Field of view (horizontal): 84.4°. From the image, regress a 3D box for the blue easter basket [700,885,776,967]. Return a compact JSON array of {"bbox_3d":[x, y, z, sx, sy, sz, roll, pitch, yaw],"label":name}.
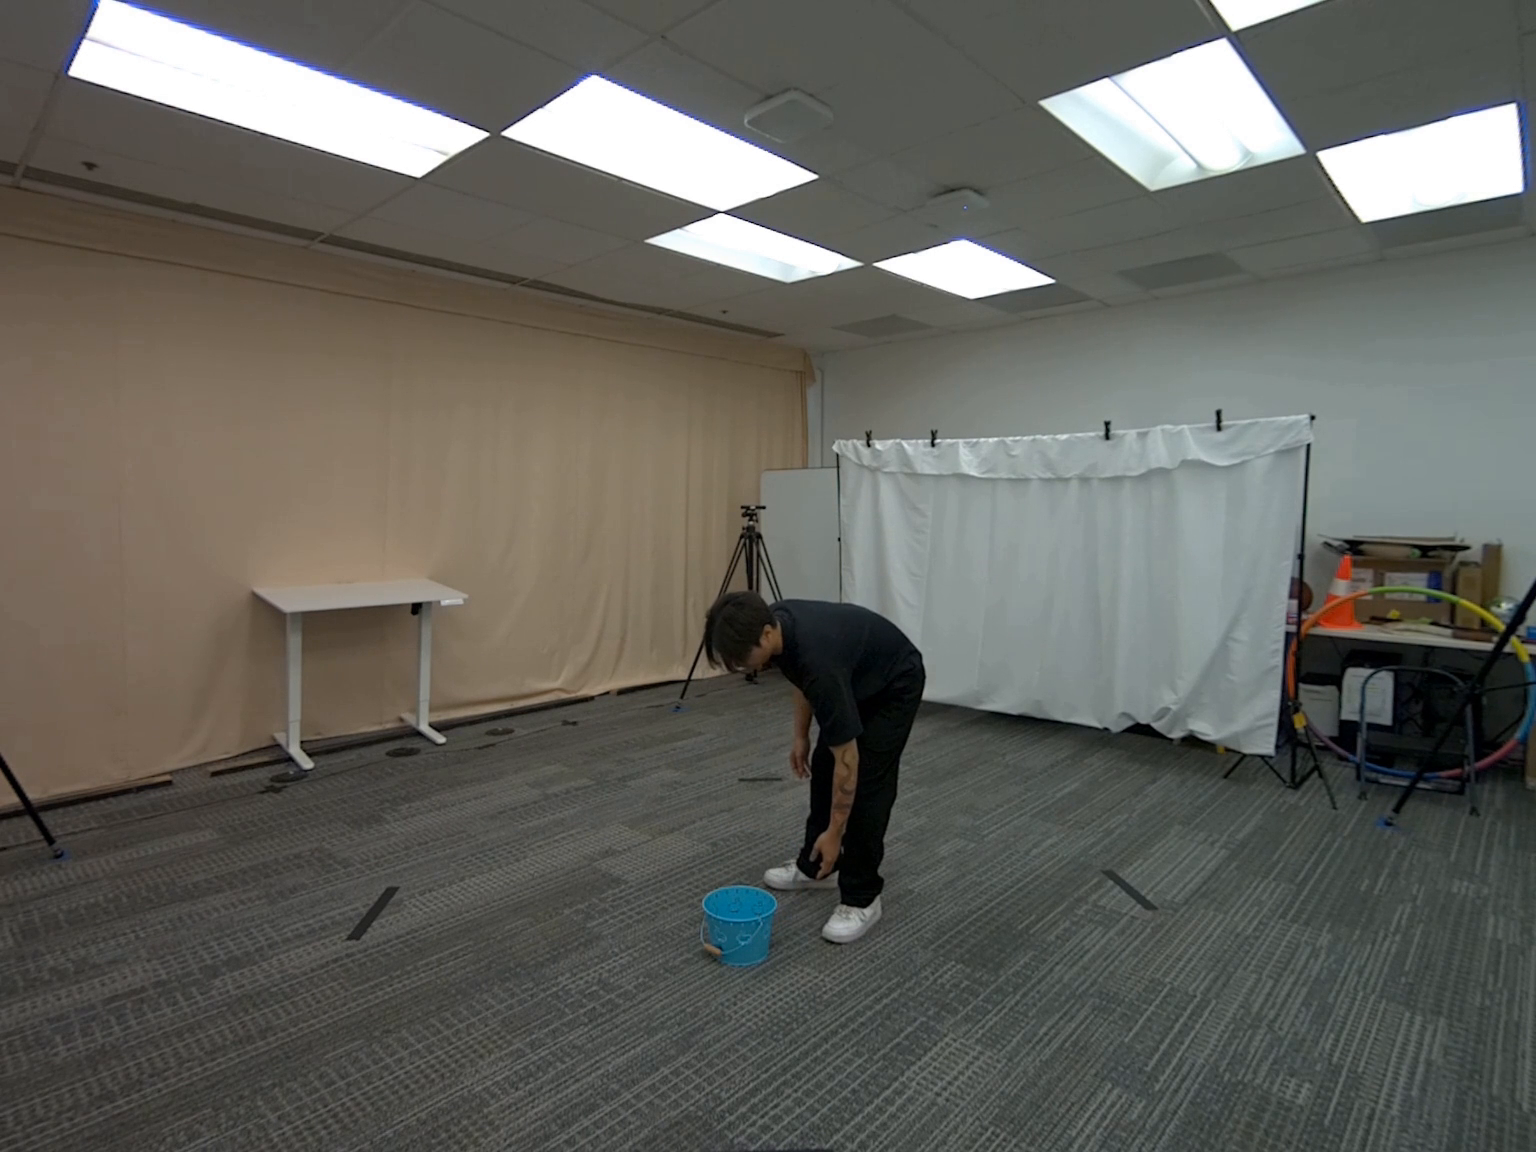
[{"bbox_3d":[-0.093,1.095,2.631,0.243,0.155,0.244,0,4,-2],"label":"blue easter basket"}]
